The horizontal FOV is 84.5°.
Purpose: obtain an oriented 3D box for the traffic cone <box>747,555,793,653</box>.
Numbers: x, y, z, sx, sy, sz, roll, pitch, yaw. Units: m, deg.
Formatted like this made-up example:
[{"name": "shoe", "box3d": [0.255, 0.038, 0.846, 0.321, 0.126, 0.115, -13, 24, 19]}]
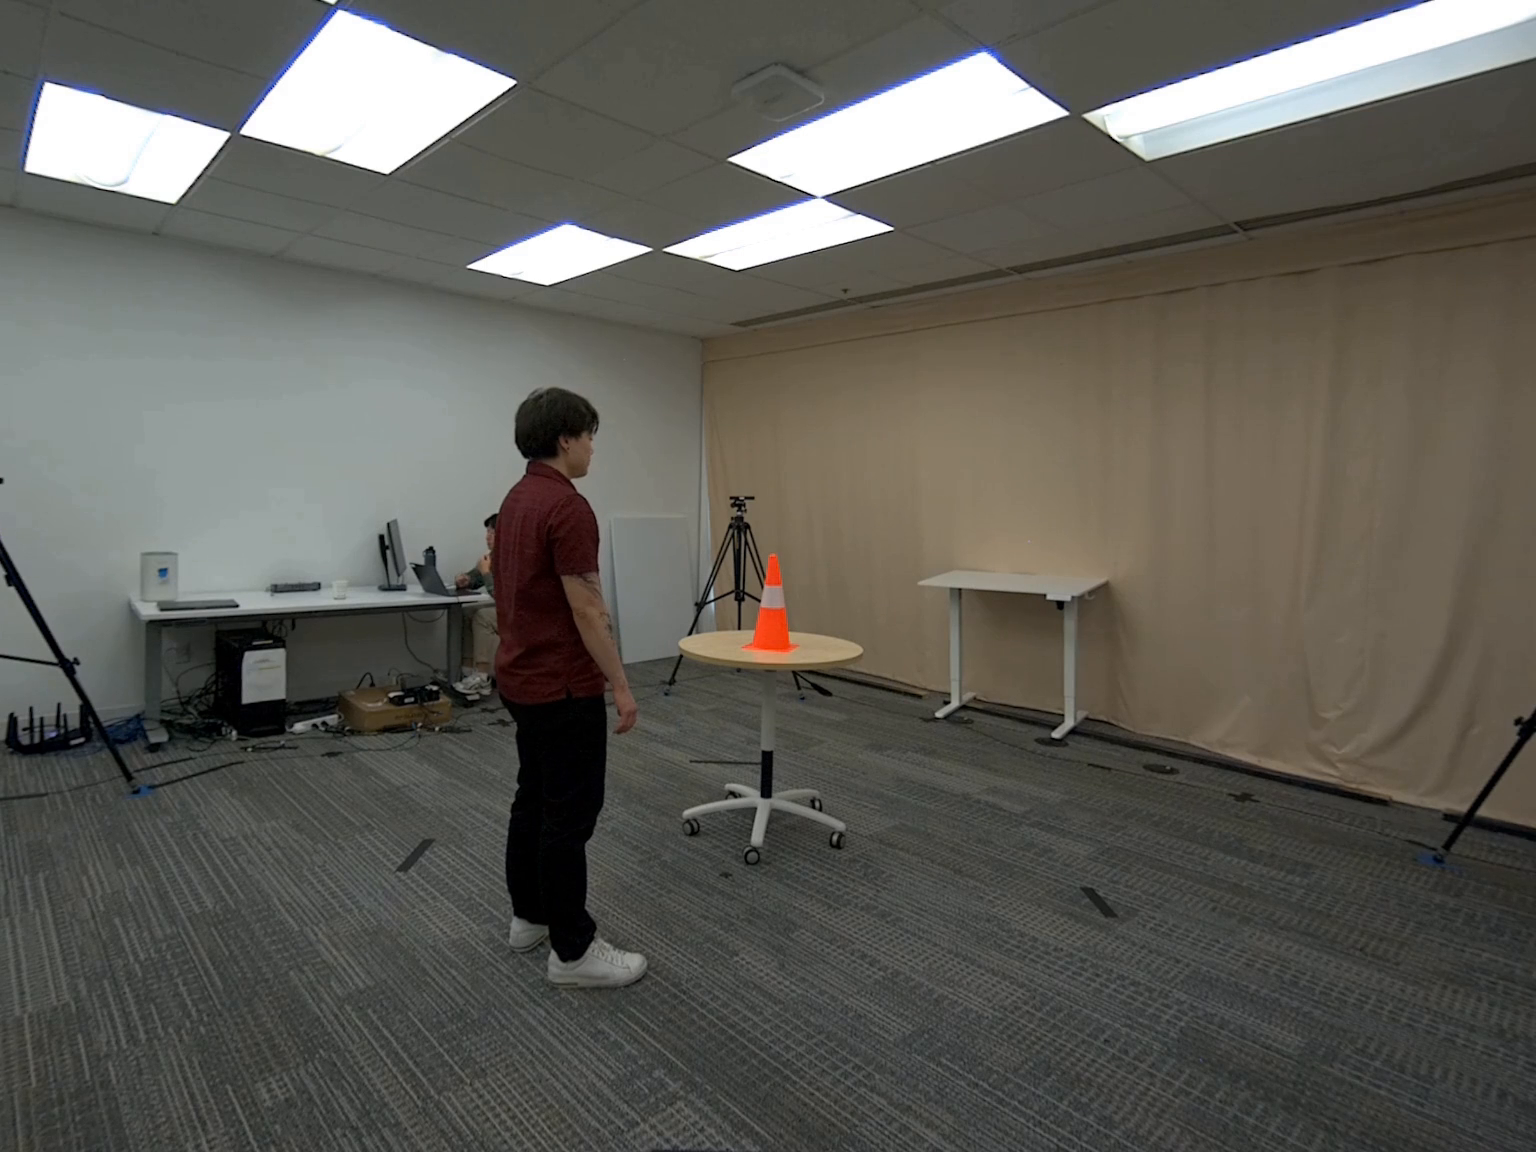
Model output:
[{"name": "traffic cone", "box3d": [0.016, 0.107, 3.460, 0.207, 0.383, 0.202, 4, 4, 20]}]
